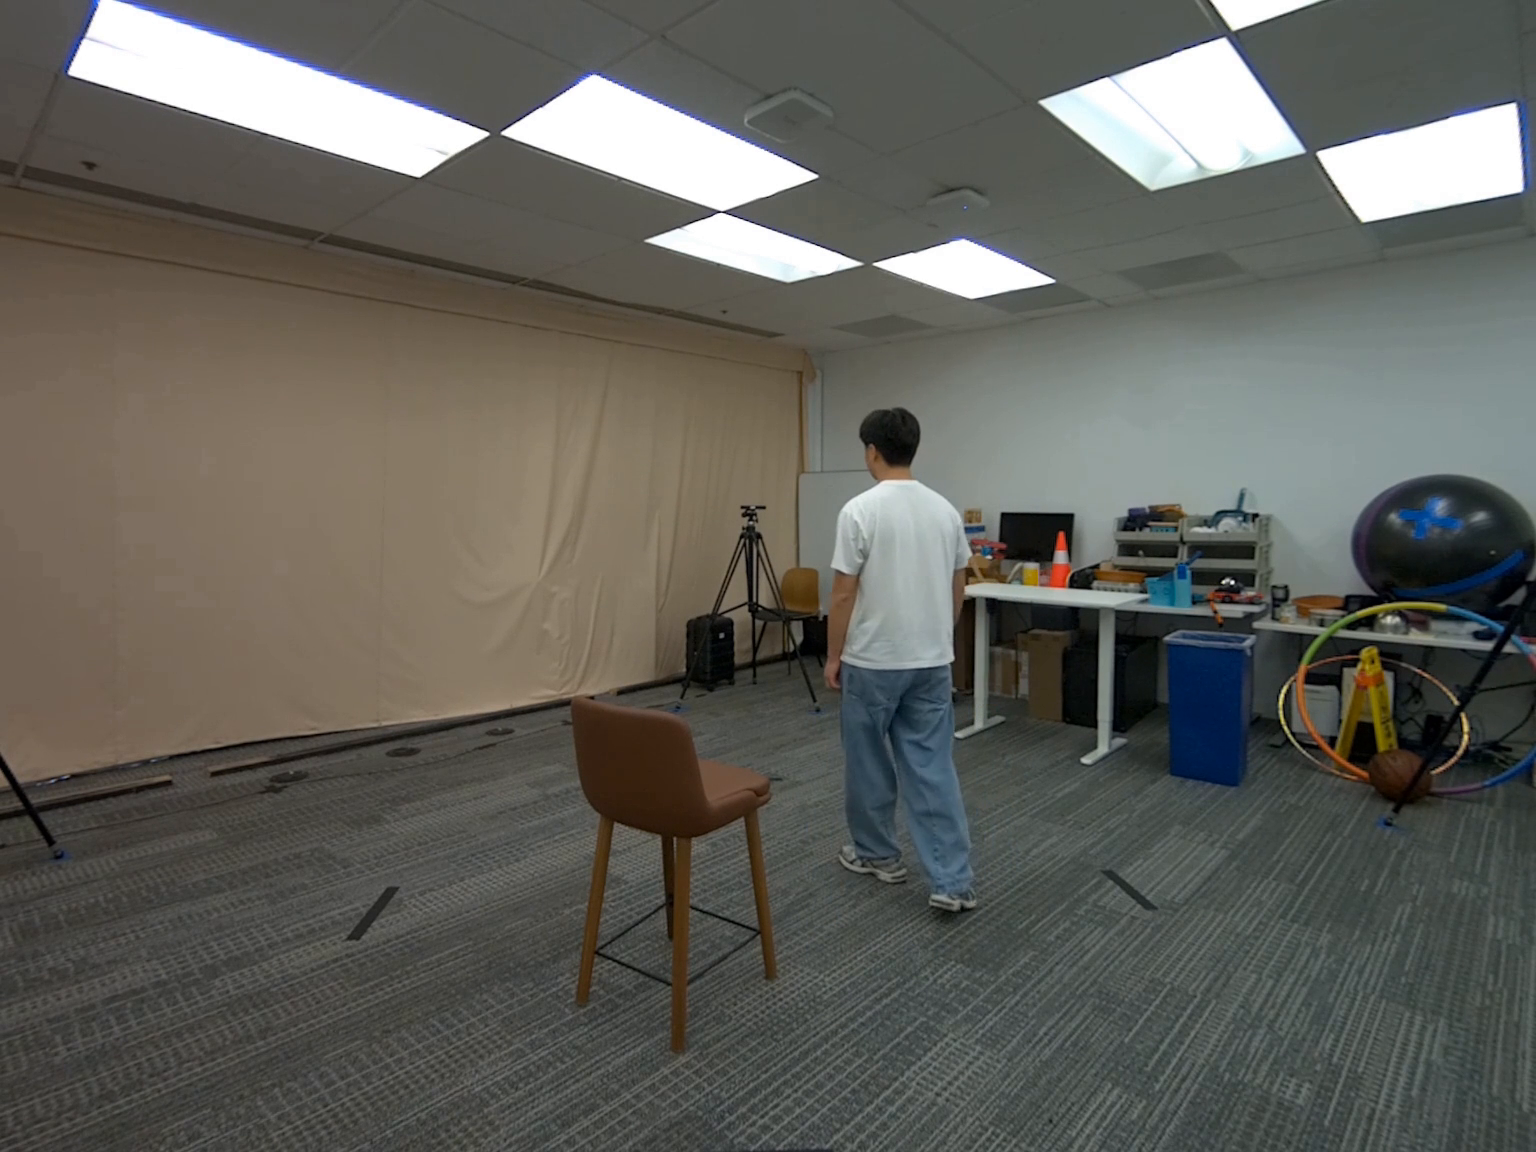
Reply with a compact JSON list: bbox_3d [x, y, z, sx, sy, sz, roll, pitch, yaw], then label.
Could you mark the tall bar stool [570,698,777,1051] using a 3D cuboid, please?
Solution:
[{"bbox_3d":[-0.269,0.761,2.399,0.471,0.887,0.455,1,6,35],"label":"tall bar stool"}]
